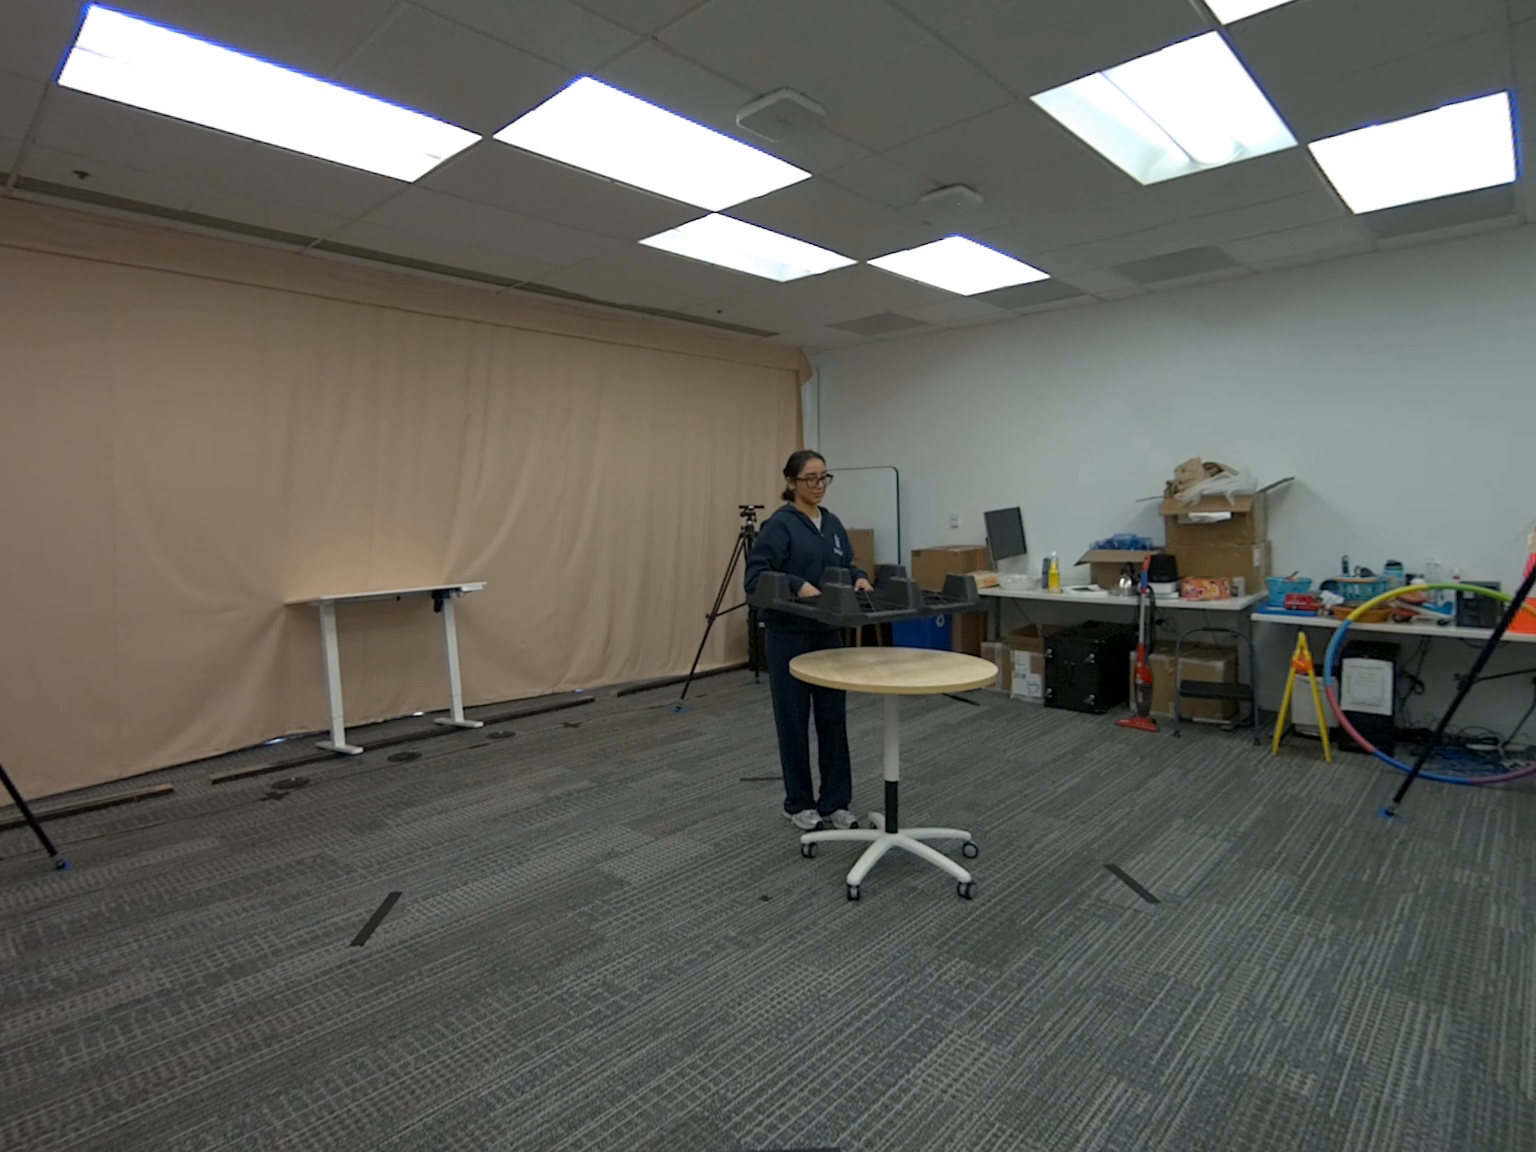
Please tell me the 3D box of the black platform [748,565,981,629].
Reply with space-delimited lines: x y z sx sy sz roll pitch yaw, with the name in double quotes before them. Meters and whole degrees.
"black platform" 0.409 0.062 3.372 0.782 0.143 0.625 -4 9 -37
